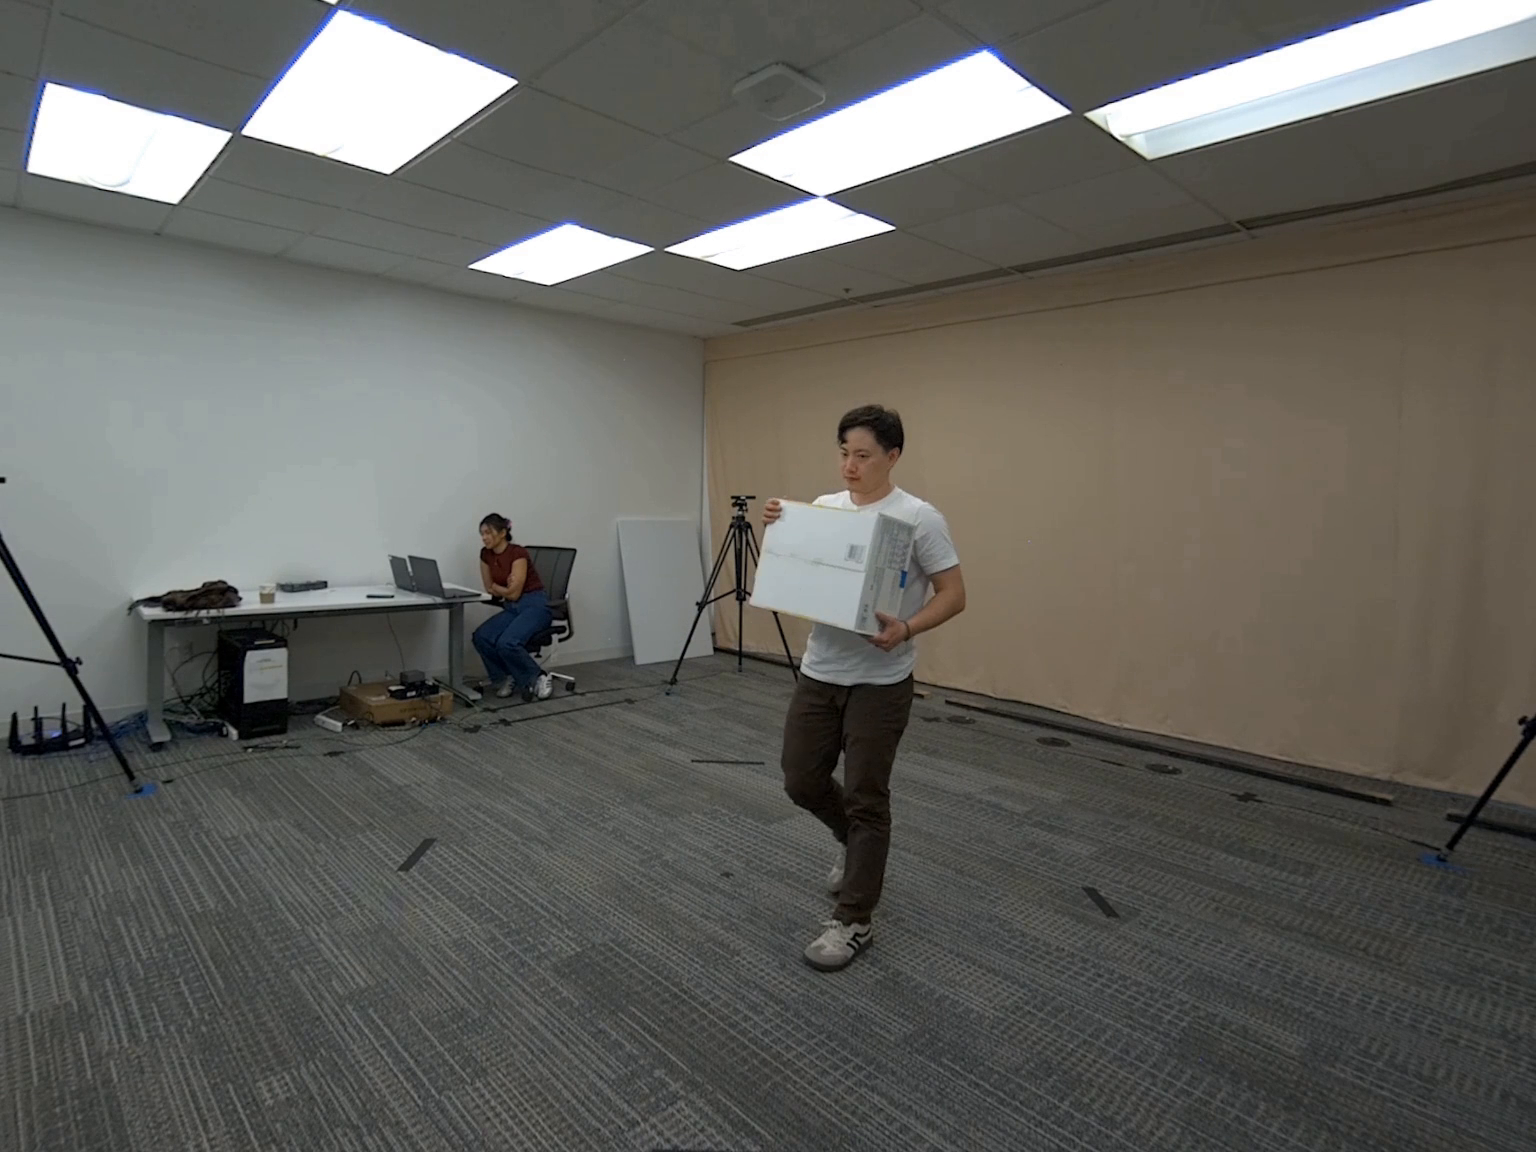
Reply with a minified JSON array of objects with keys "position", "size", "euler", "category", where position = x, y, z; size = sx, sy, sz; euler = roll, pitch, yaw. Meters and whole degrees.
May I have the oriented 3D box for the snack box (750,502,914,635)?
[{"position":[0.180,-0.021,2.522],"size":[0.416,0.341,0.200],"euler":[11,-2,43],"category":"snack box"}]
